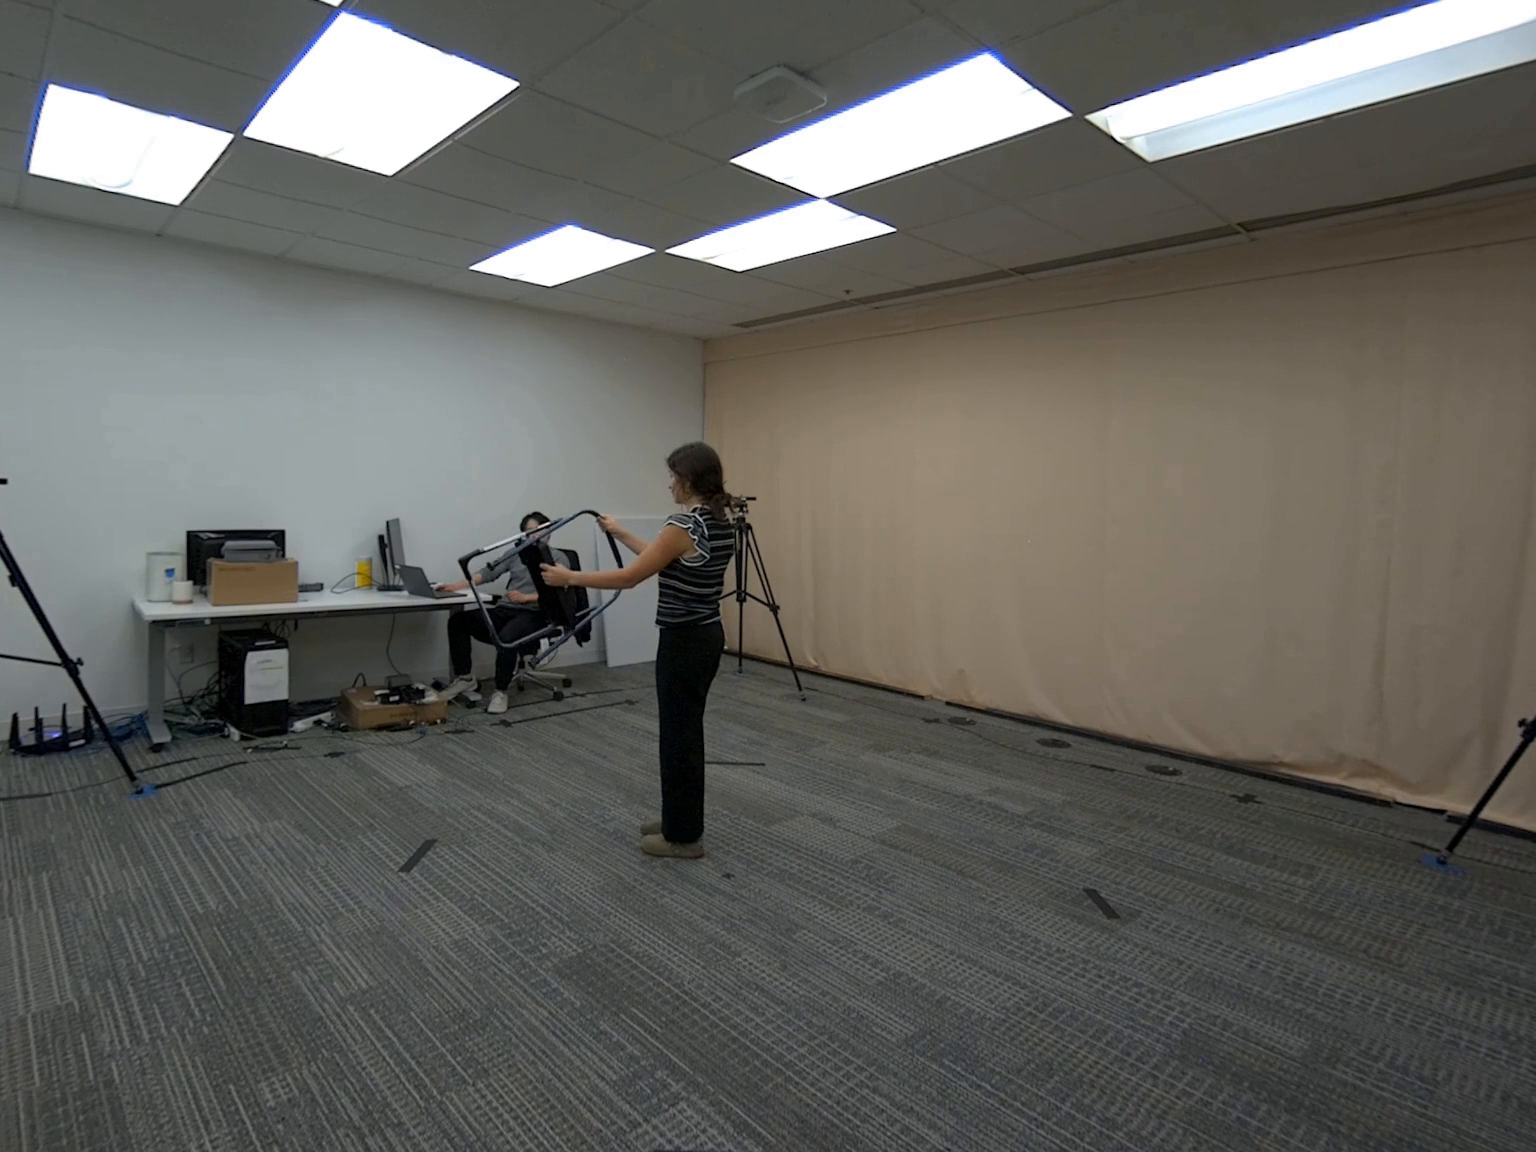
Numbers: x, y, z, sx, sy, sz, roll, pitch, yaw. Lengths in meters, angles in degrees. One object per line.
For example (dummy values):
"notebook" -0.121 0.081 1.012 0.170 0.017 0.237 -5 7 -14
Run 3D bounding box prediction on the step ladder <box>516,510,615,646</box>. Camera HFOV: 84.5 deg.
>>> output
"step ladder" -0.813 0.005 3.291 0.600 0.424 0.358 -30 20 -34
